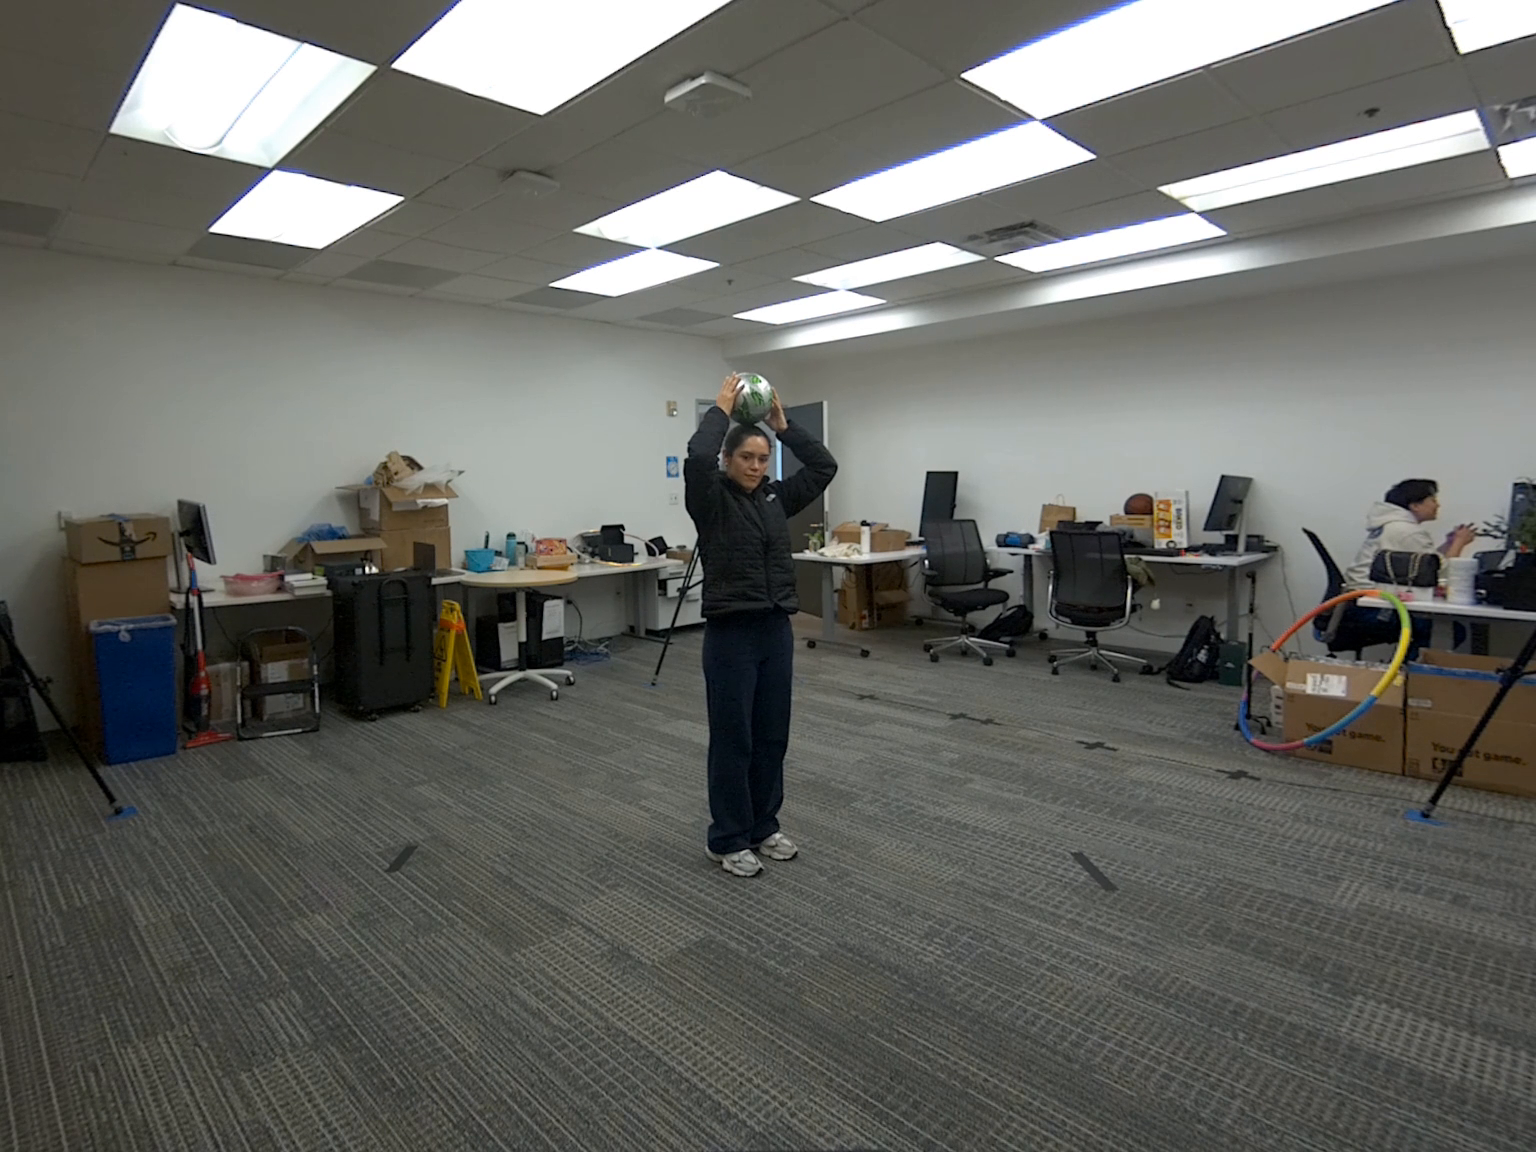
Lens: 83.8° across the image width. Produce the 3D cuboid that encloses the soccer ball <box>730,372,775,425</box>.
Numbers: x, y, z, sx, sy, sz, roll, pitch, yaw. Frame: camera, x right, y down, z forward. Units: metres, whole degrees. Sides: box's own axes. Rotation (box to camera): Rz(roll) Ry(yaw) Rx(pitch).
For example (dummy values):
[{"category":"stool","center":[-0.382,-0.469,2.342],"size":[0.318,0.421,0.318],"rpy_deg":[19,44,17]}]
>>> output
[{"category":"soccer ball","center":[-0.071,-0.642,3.096],"size":[0.187,0.187,0.188],"rpy_deg":[-1,5,-2]}]
